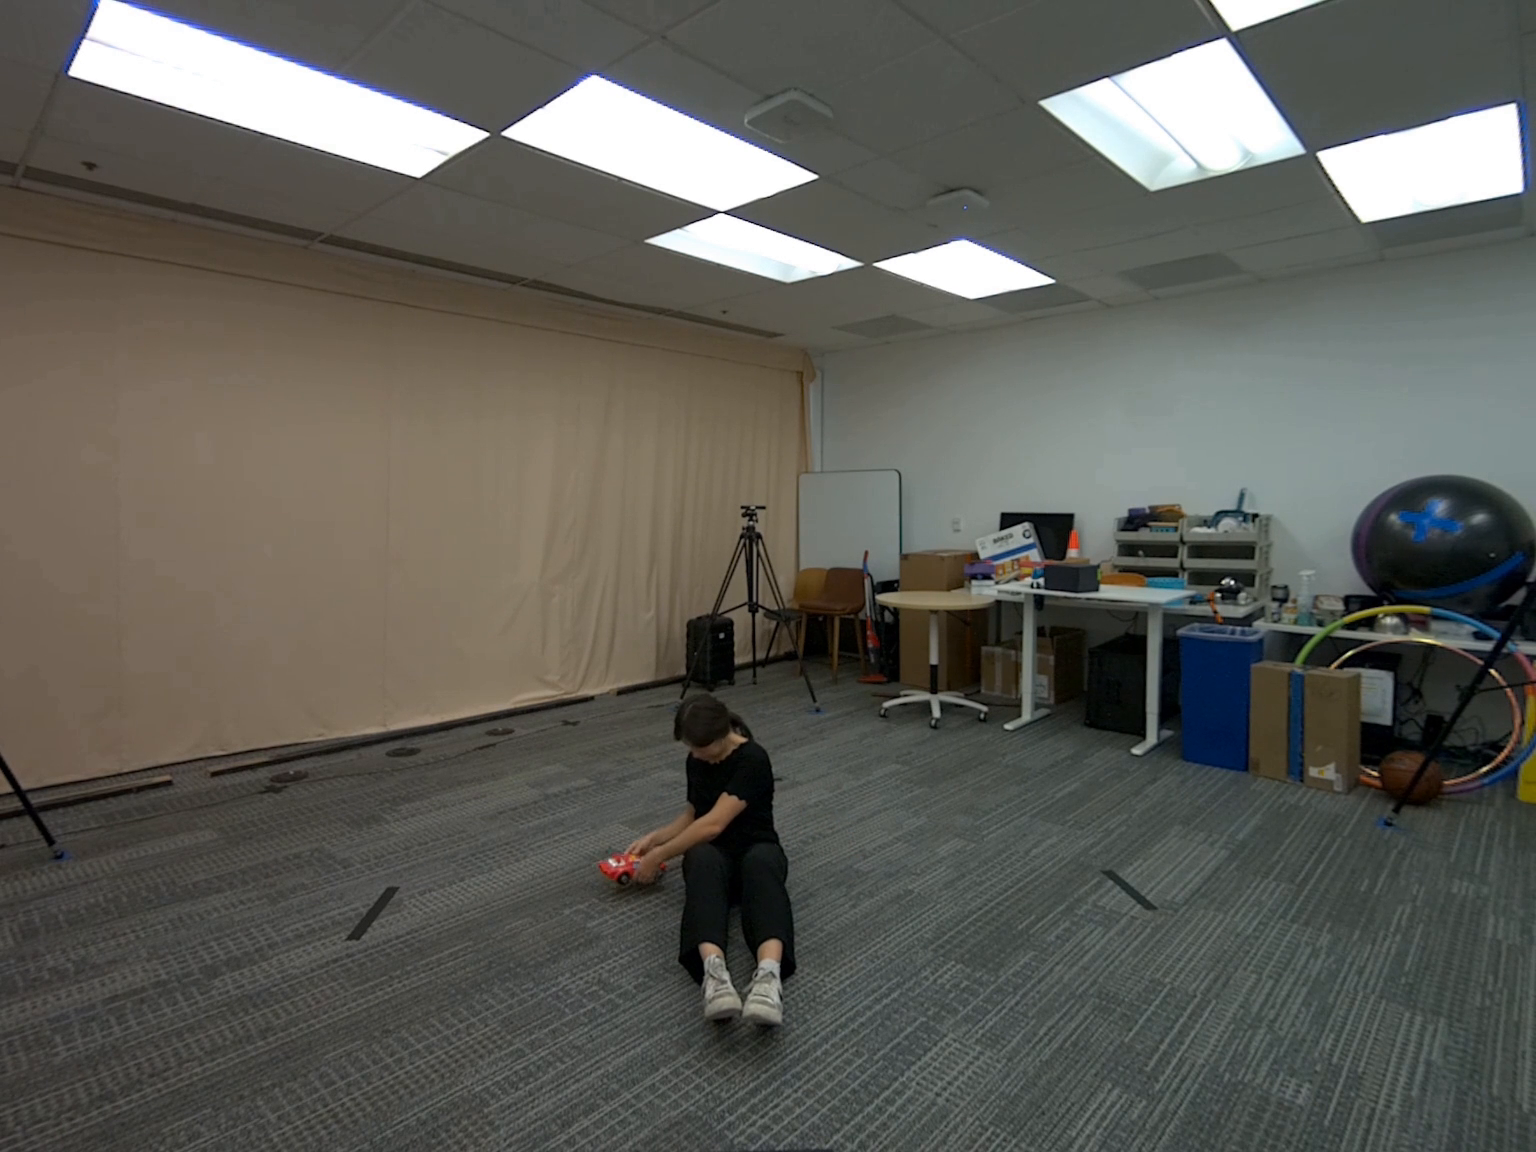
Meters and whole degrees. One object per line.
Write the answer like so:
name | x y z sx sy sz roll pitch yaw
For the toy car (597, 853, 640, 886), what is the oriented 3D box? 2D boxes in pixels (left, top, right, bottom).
toy car | -0.493 1.054 3.040 0.247 0.083 0.134 23 -8 -29
